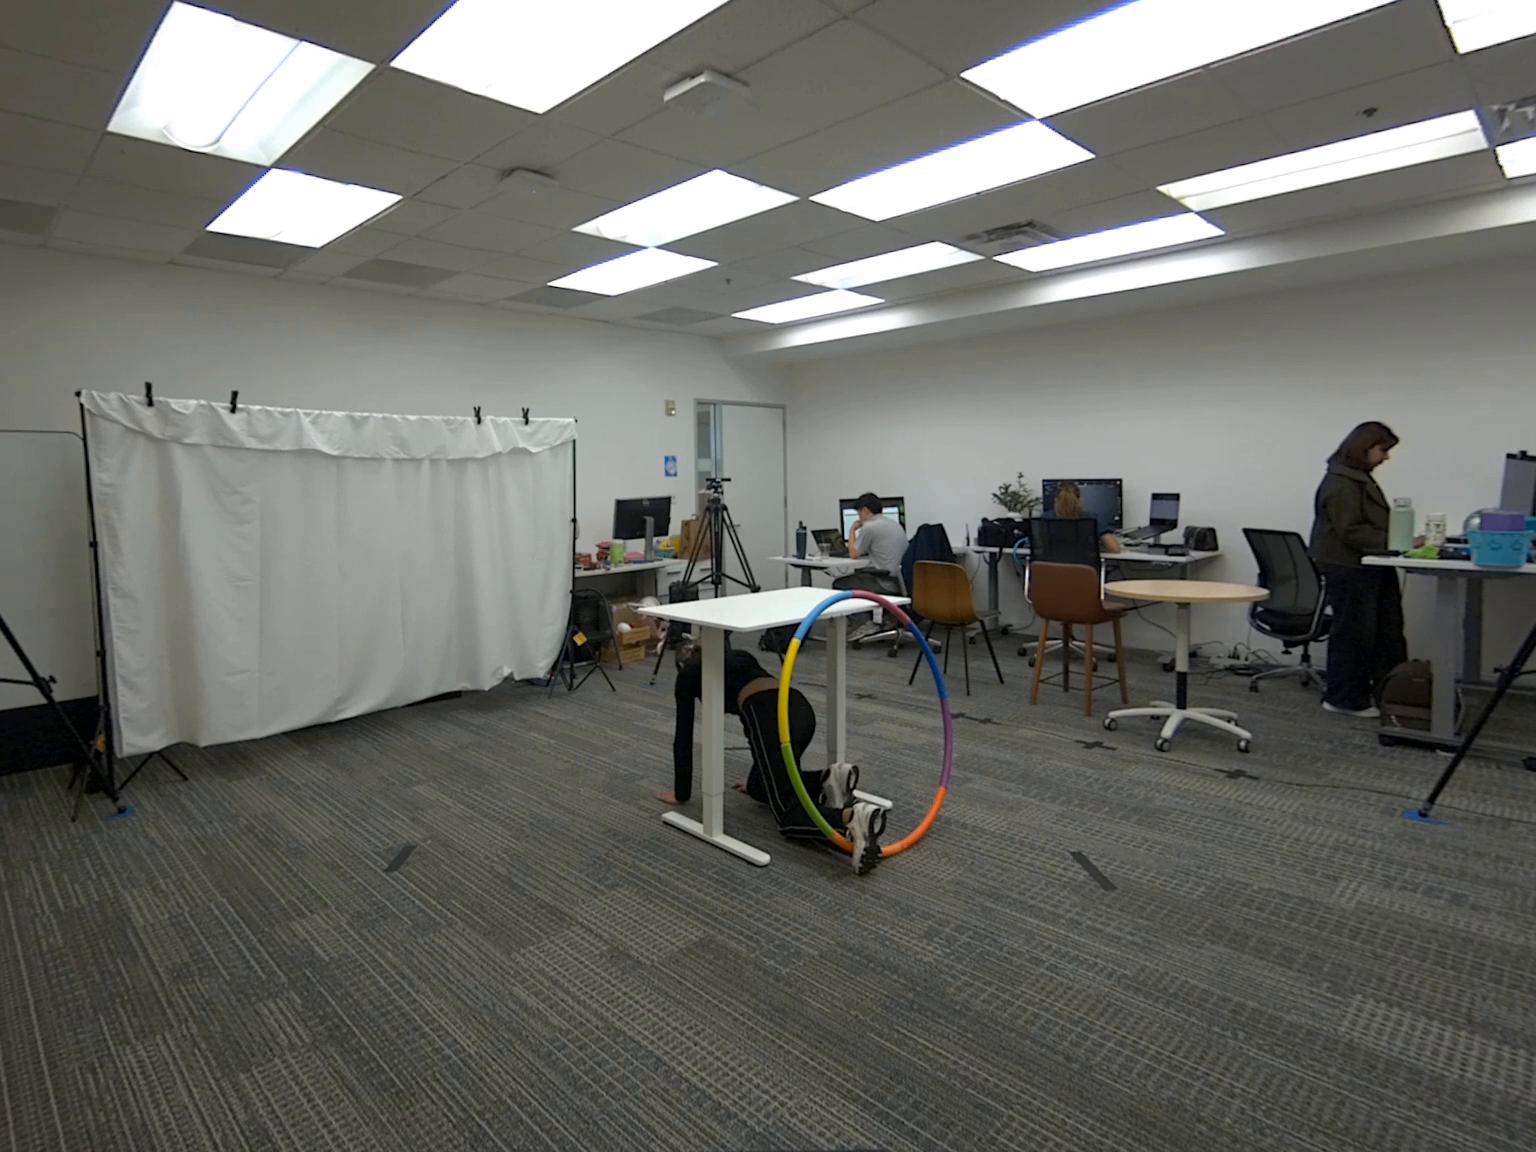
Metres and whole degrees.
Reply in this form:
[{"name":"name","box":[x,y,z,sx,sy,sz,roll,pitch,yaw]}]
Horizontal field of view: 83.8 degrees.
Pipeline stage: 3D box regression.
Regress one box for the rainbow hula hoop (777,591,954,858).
[{"name":"rainbow hula hoop","box":[0.401,0.546,3.244,0.953,0.987,0.036,-6,-10,-44]}]
